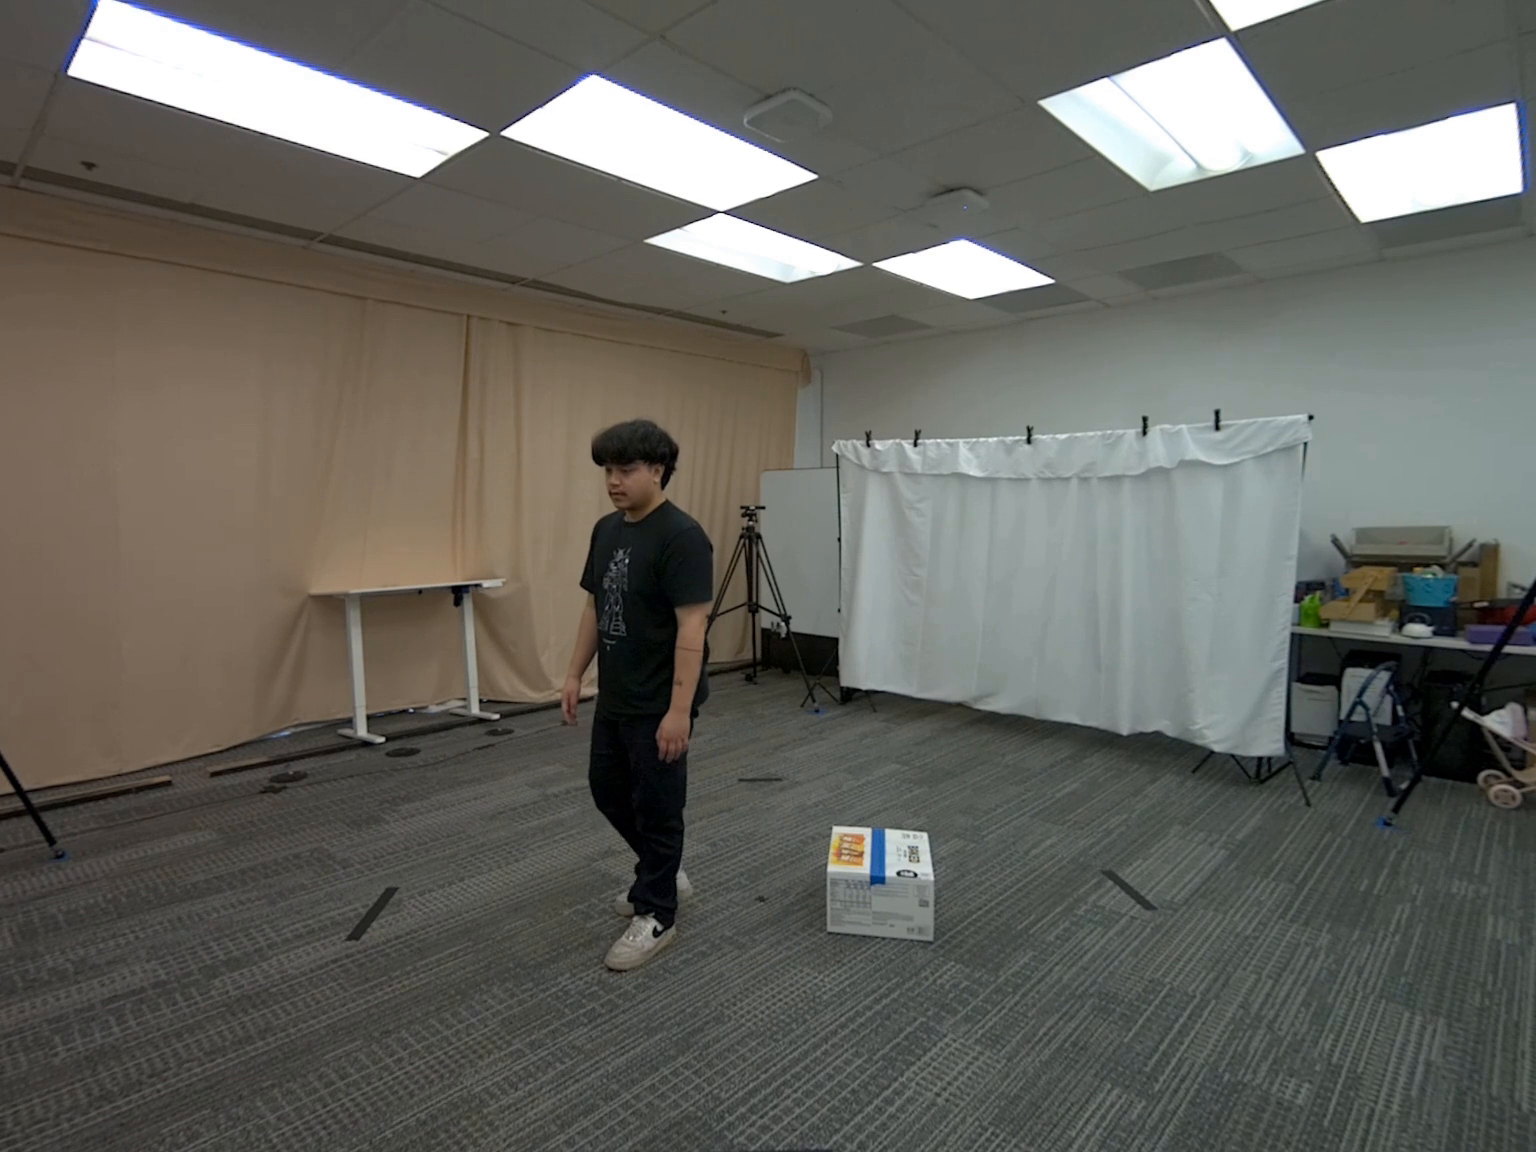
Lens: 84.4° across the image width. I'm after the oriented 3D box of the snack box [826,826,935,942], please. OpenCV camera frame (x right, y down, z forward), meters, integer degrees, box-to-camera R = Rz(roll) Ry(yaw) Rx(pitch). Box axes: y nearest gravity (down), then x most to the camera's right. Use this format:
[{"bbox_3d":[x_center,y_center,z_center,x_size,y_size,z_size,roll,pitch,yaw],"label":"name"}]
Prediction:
[{"bbox_3d":[0.390,1.046,2.900,0.344,0.205,0.402,0,4,9],"label":"snack box"}]
